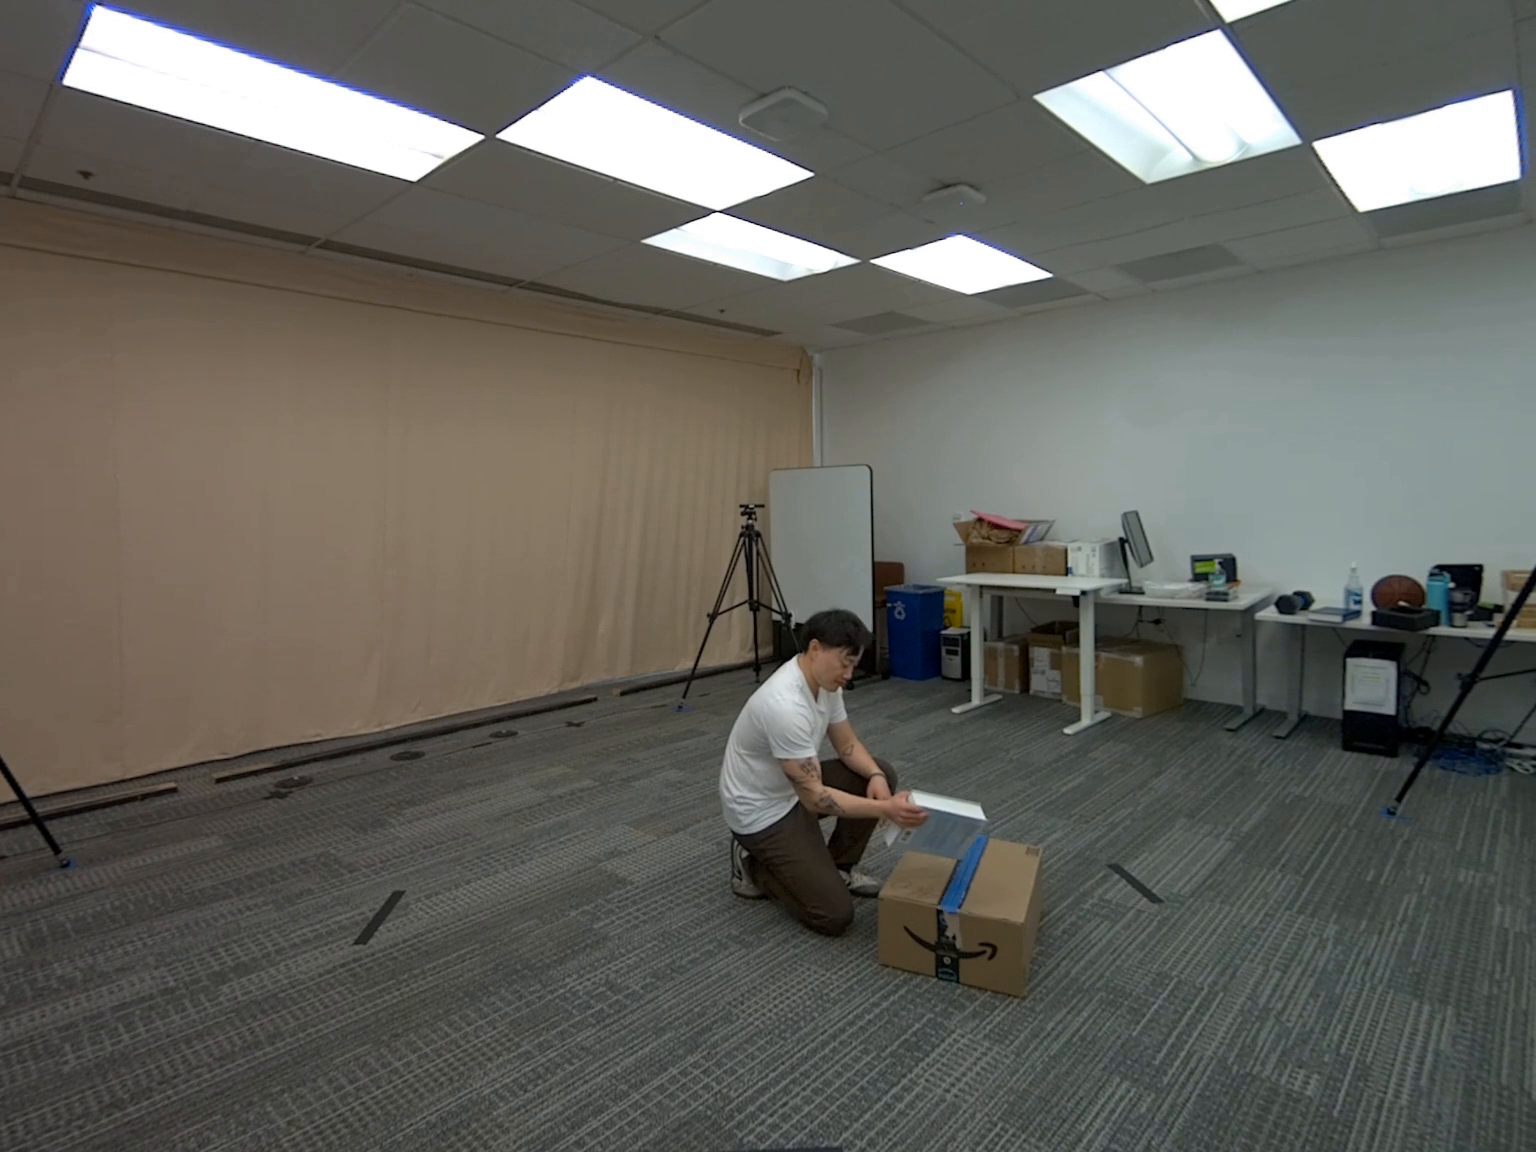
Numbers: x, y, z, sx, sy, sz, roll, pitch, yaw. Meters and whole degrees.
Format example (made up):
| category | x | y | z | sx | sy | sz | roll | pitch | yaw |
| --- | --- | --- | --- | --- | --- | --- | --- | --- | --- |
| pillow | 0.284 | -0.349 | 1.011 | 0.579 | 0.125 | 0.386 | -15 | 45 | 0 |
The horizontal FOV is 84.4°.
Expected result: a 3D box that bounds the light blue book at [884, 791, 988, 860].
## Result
| category | x | y | z | sx | sy | sz | roll | pitch | yaw |
| --- | --- | --- | --- | --- | --- | --- | --- | --- | --- |
| light blue book | 0.530 | 0.767 | 2.594 | 0.256 | 0.191 | 0.060 | 16 | 21 | -16 |
